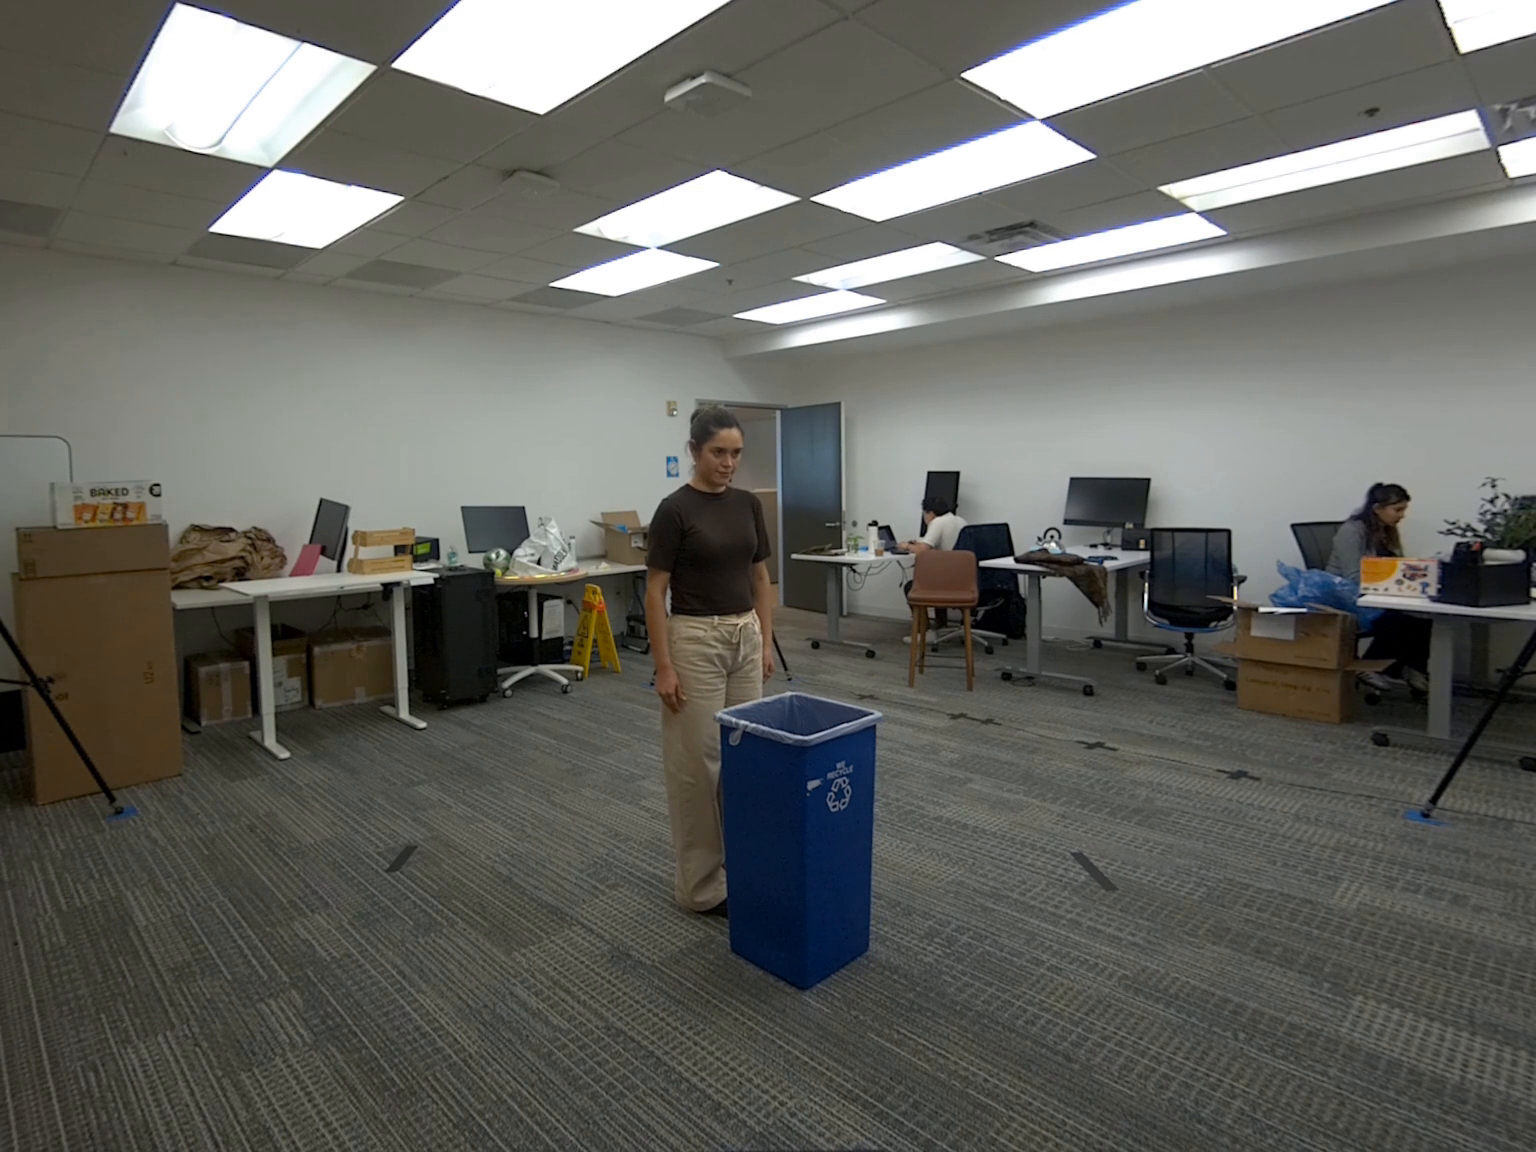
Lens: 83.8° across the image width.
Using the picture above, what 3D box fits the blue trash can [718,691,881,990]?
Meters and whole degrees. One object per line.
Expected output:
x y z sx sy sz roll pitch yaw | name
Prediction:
0.102 0.754 2.504 0.385 0.711 0.368 3 6 44 | blue trash can
